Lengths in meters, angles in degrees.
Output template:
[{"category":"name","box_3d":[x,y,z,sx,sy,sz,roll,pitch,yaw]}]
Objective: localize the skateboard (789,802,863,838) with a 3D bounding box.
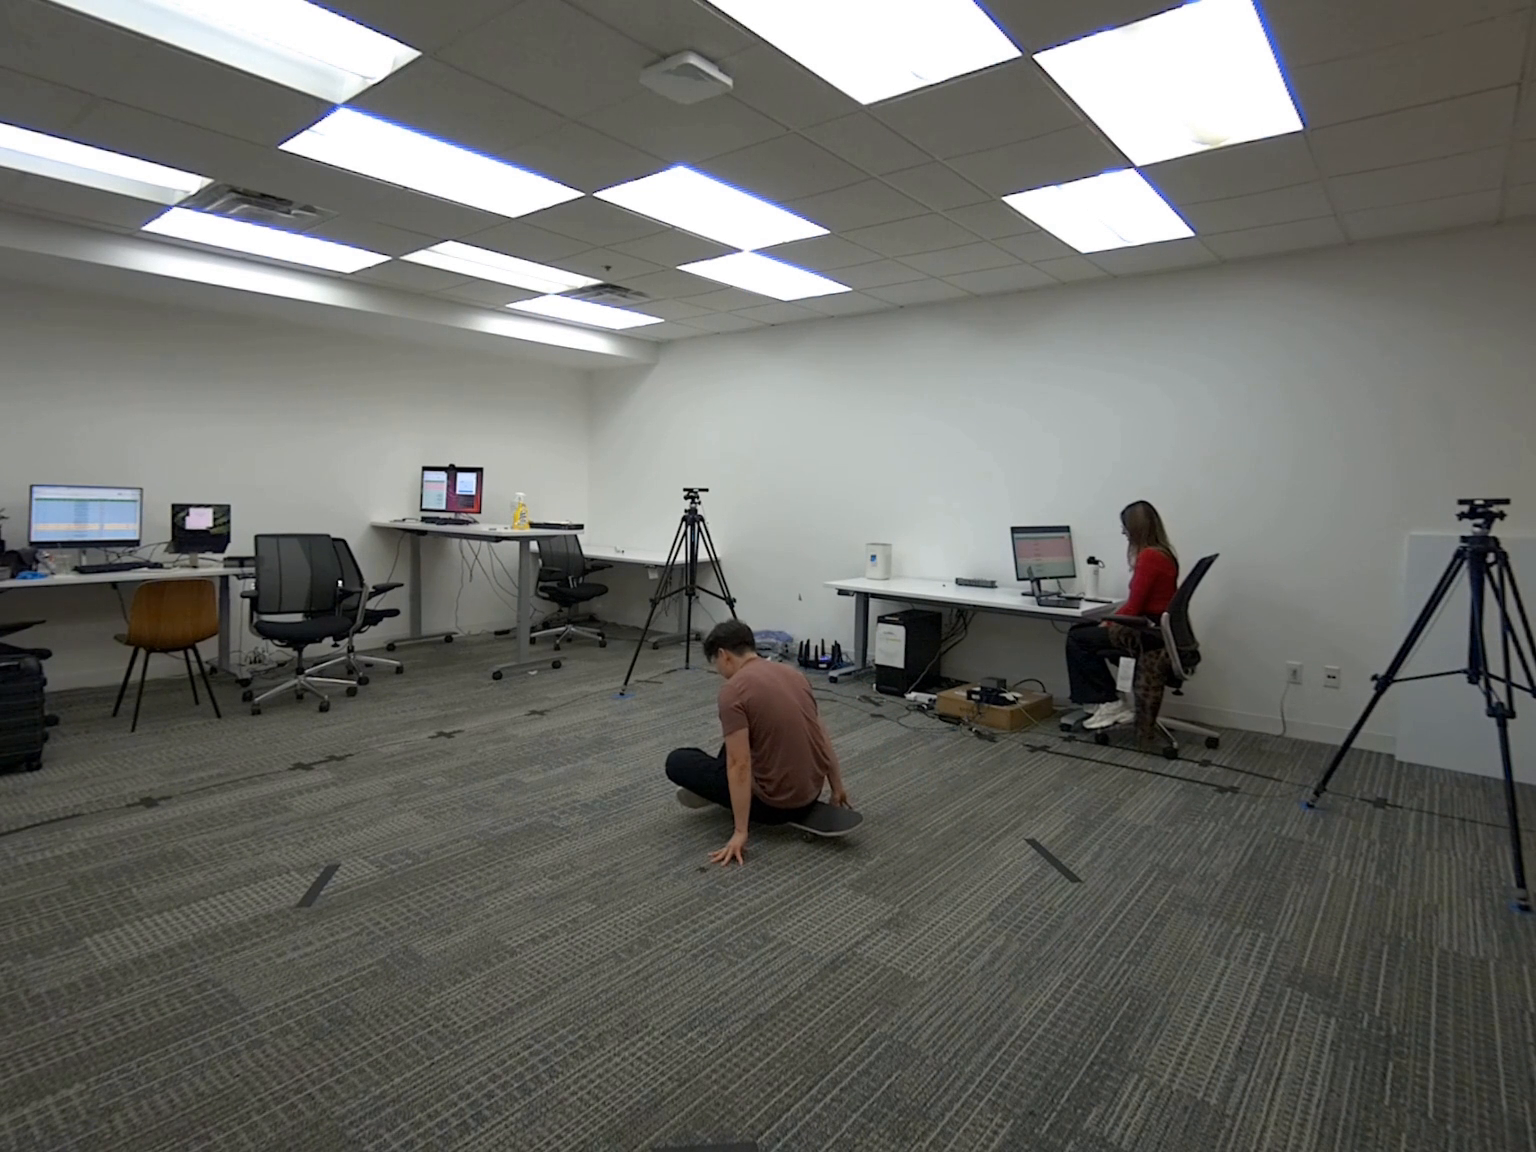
[{"category":"skateboard","box_3d":[0.042,0.973,3.562,0.812,0.108,0.190,7,21,39]}]
